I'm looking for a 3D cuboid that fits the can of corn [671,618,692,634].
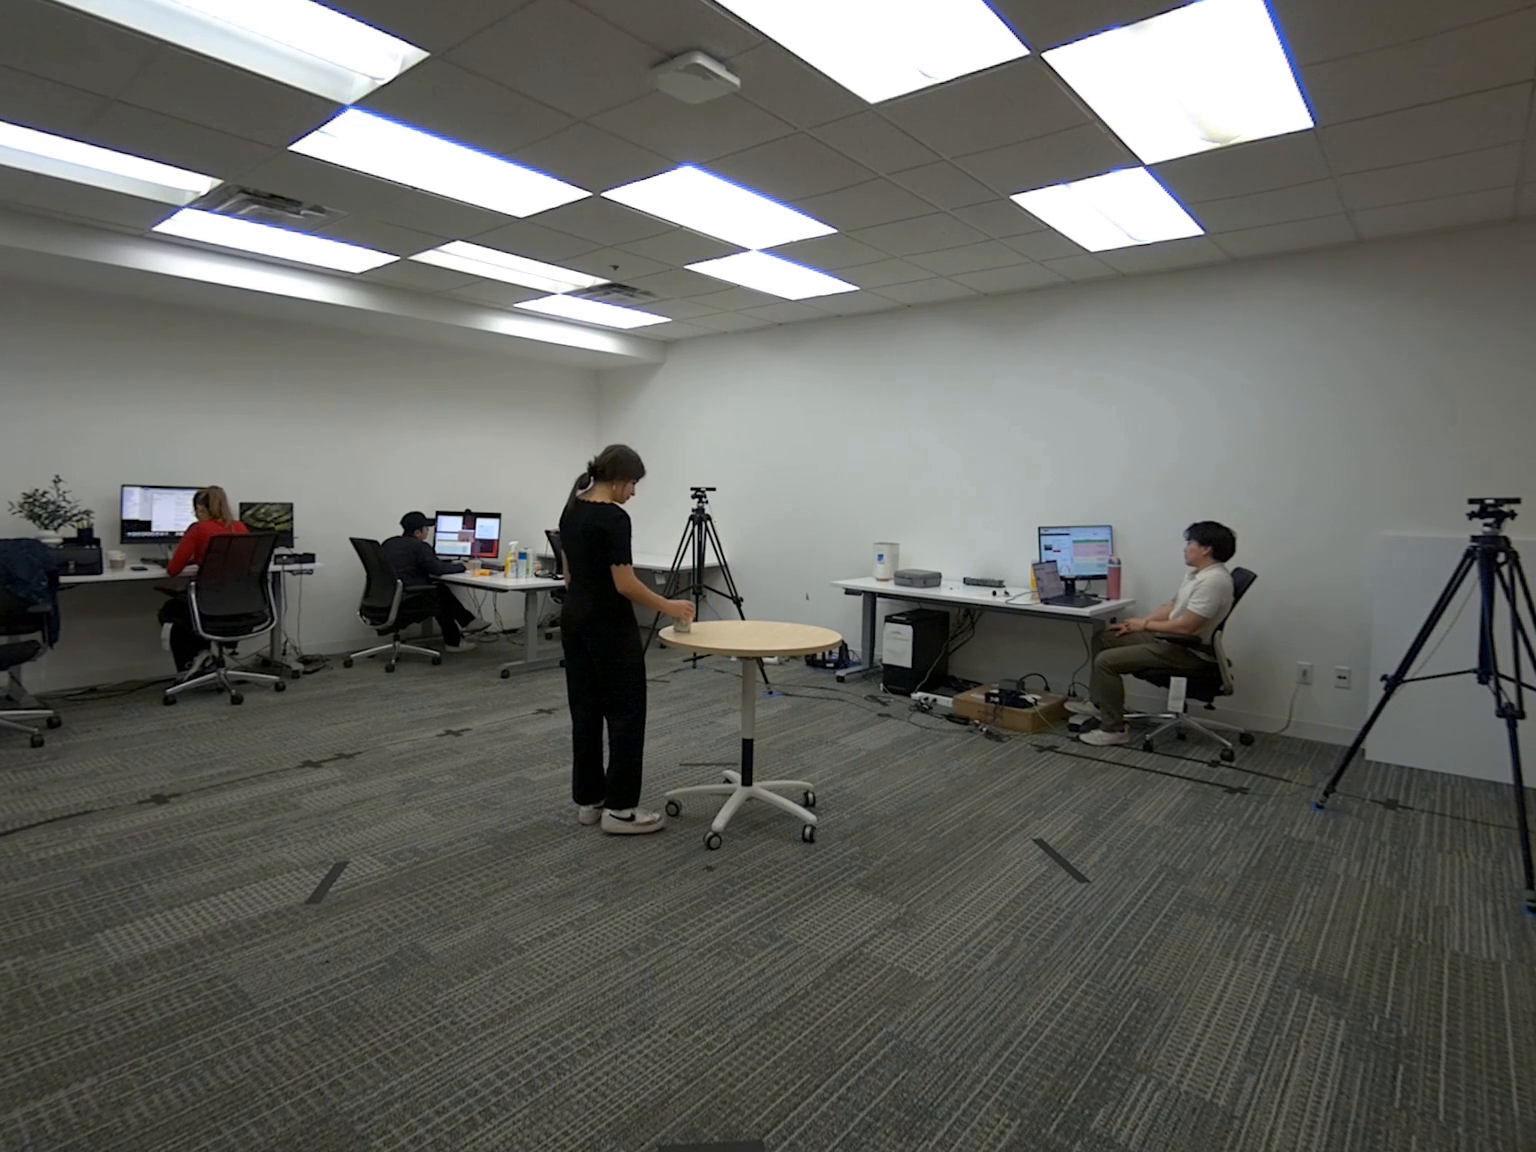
[{"bbox_3d":[-0.363,0.176,3.597,0.074,0.110,0.075,-1,6,-2],"label":"can of corn"}]
